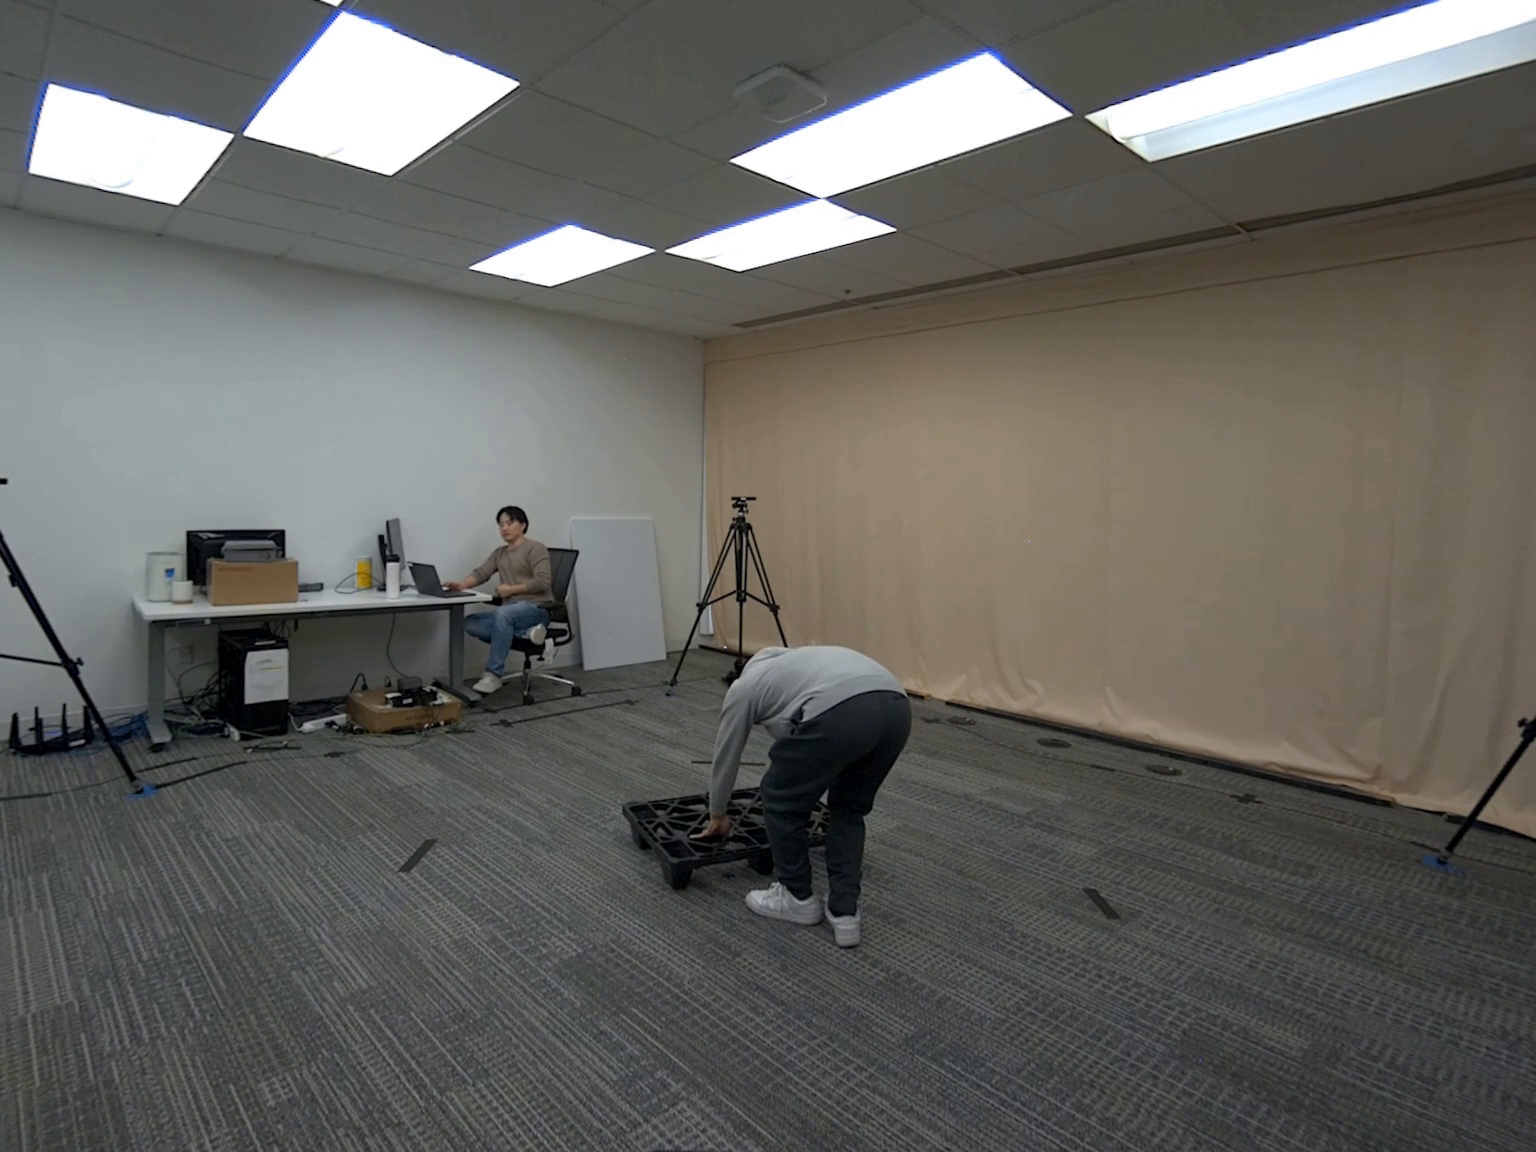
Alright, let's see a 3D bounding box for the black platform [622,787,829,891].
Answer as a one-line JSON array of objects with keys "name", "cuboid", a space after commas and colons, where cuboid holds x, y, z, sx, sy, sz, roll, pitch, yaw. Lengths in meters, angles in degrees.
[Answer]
[{"name": "black platform", "cuboid": [-0.115, 1.018, 3.335, 0.791, 0.143, 0.618, -1, 6, -25]}]
